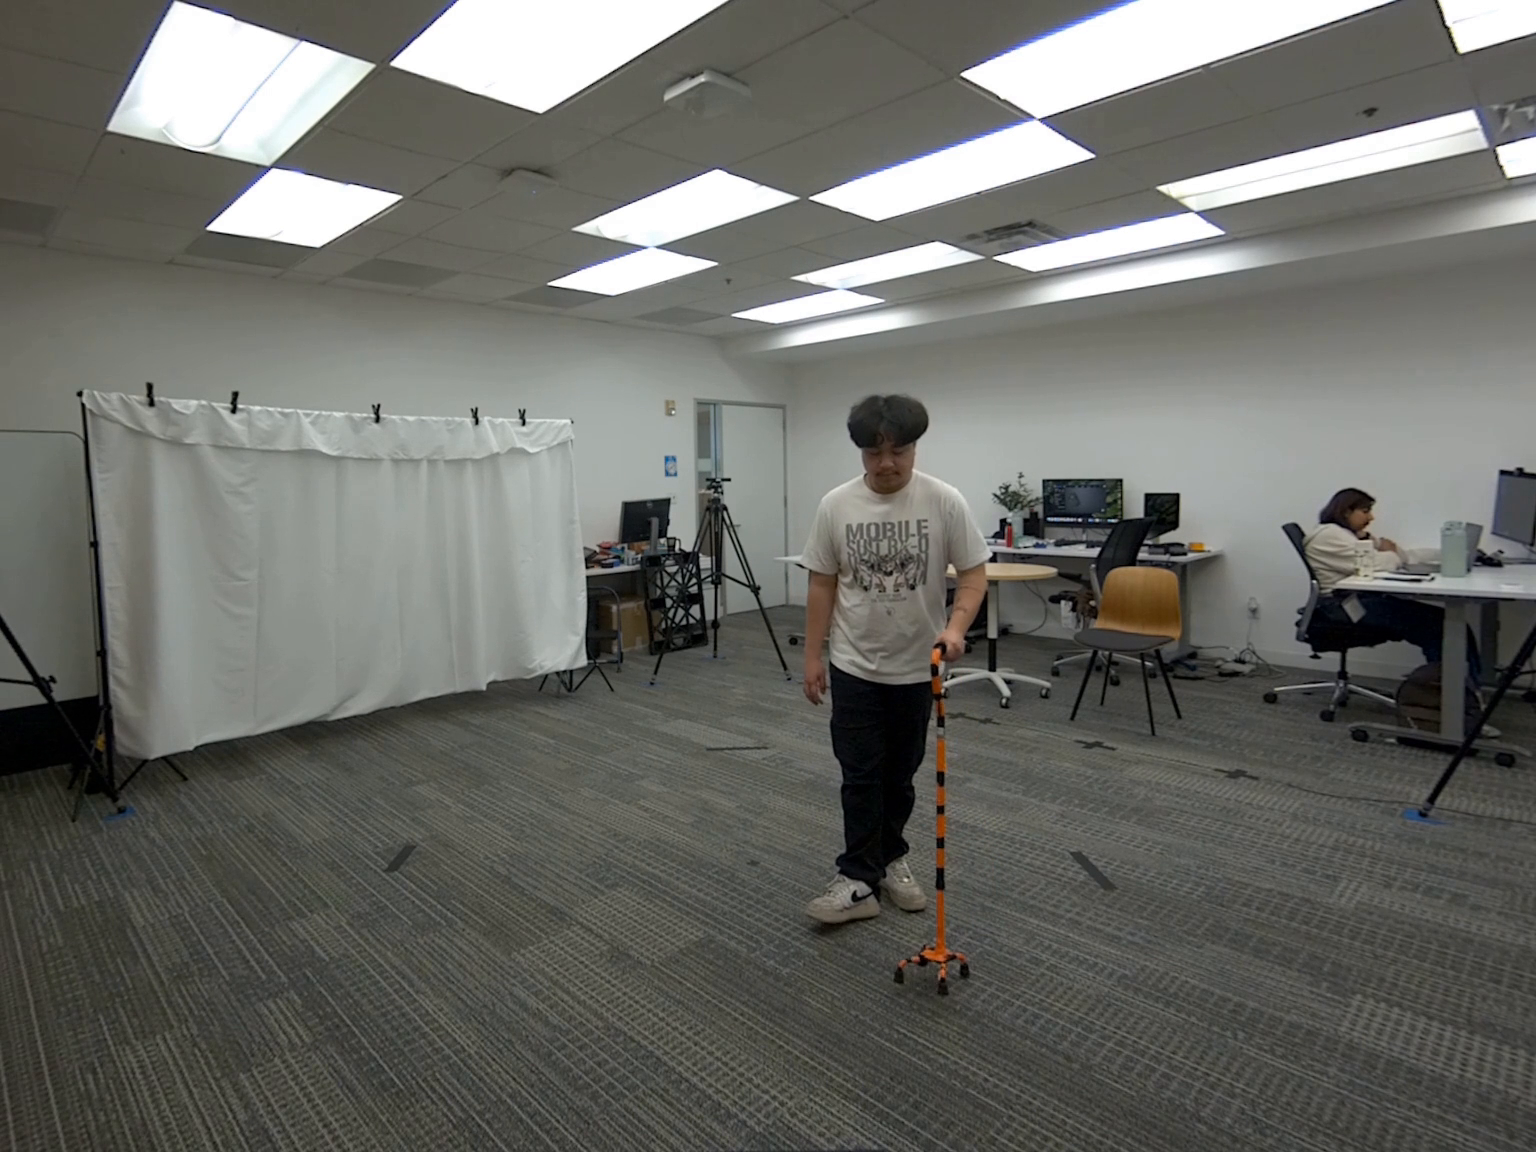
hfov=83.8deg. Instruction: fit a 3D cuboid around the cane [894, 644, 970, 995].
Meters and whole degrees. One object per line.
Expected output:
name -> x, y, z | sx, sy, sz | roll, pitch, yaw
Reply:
cane -> 0.478, 0.650, 2.392 | 0.155, 0.914, 0.200 | -2, -8, 28
